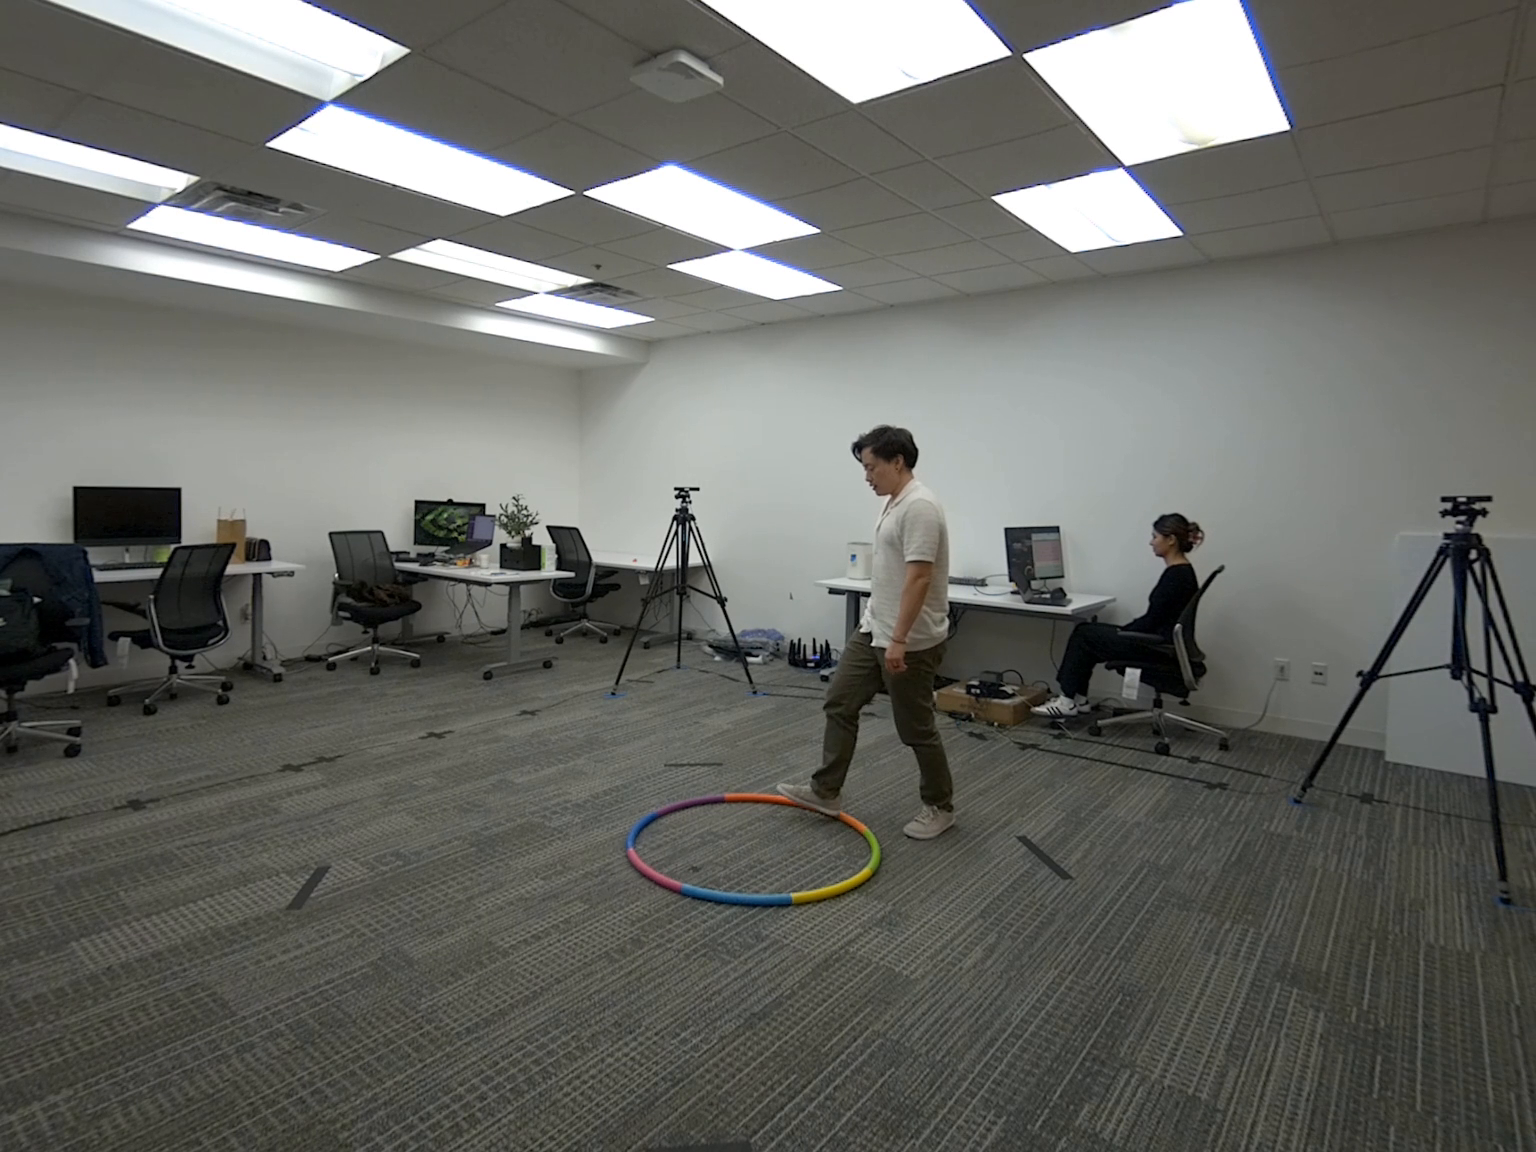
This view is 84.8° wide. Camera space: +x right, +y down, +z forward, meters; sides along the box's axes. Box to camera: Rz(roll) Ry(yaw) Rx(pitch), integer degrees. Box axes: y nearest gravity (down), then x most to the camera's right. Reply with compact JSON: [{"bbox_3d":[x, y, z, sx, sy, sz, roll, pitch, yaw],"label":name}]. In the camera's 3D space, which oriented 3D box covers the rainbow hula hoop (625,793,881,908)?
[{"bbox_3d":[-0.066,1.019,3.316,0.978,0.035,0.984,1,6,-2],"label":"rainbow hula hoop"}]
